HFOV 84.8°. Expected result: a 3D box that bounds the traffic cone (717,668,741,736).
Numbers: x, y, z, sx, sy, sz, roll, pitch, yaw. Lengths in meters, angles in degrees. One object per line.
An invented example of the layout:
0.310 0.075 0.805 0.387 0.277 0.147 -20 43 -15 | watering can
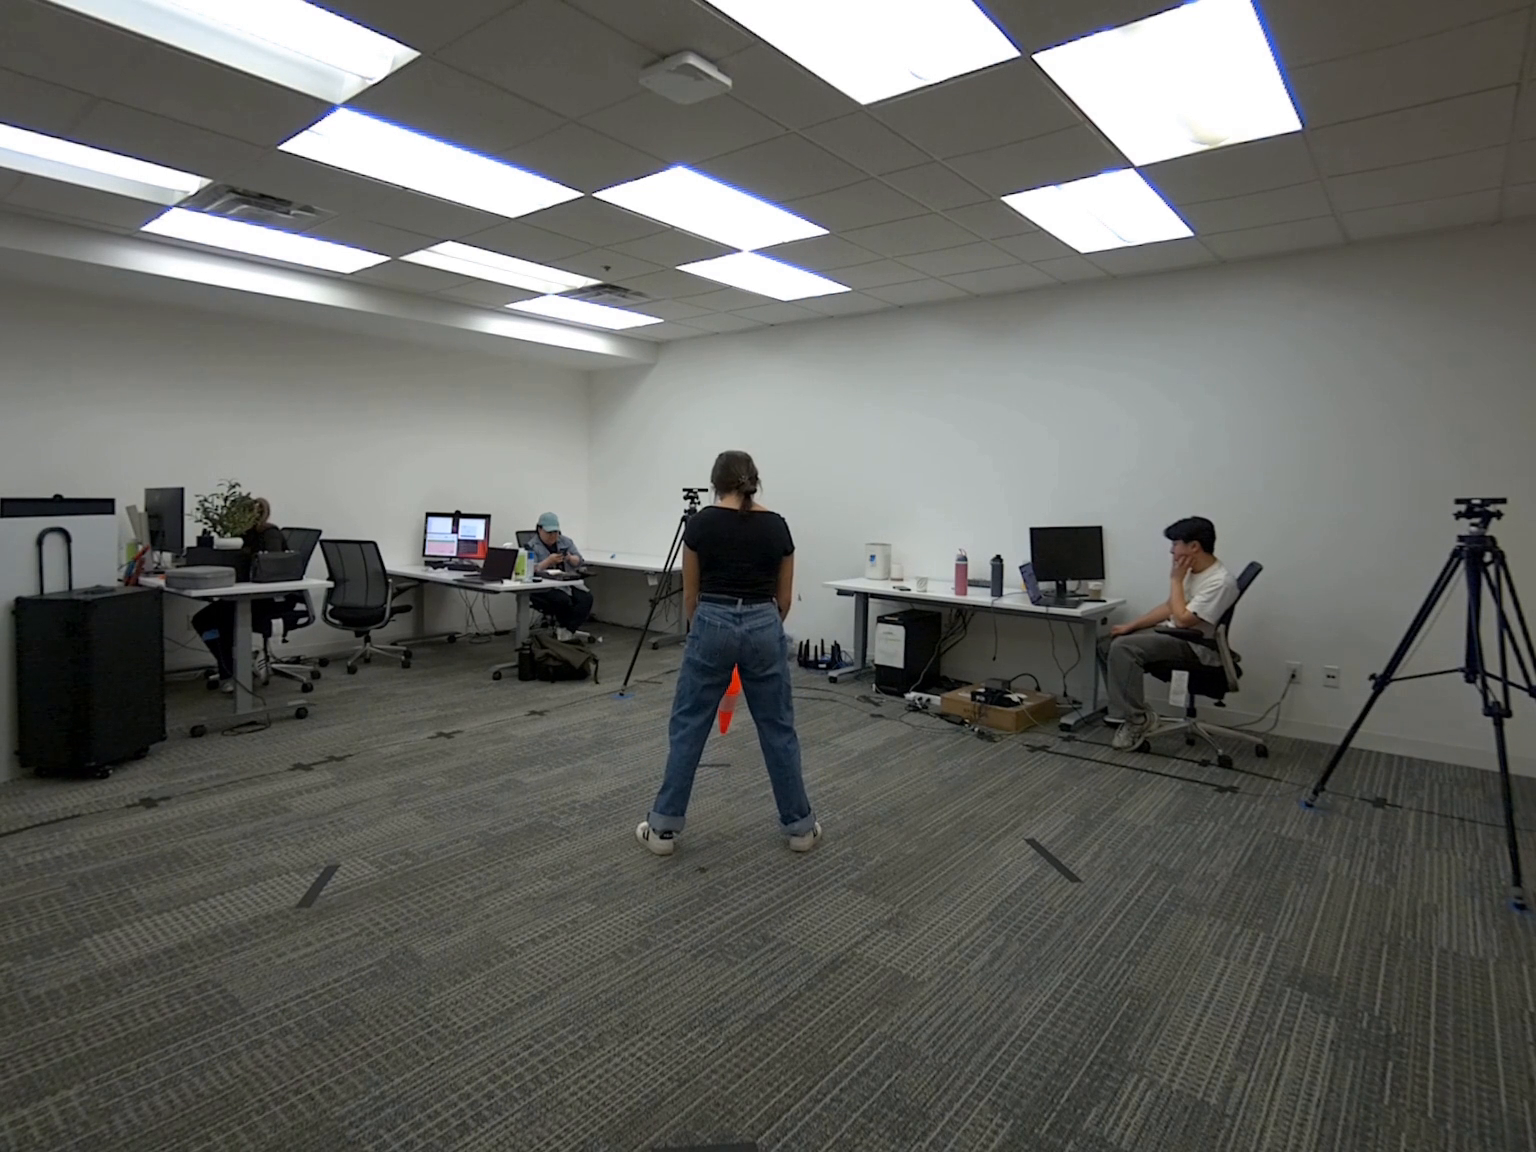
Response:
-0.166 0.489 3.575 0.205 0.377 0.207 12 22 5 | traffic cone
